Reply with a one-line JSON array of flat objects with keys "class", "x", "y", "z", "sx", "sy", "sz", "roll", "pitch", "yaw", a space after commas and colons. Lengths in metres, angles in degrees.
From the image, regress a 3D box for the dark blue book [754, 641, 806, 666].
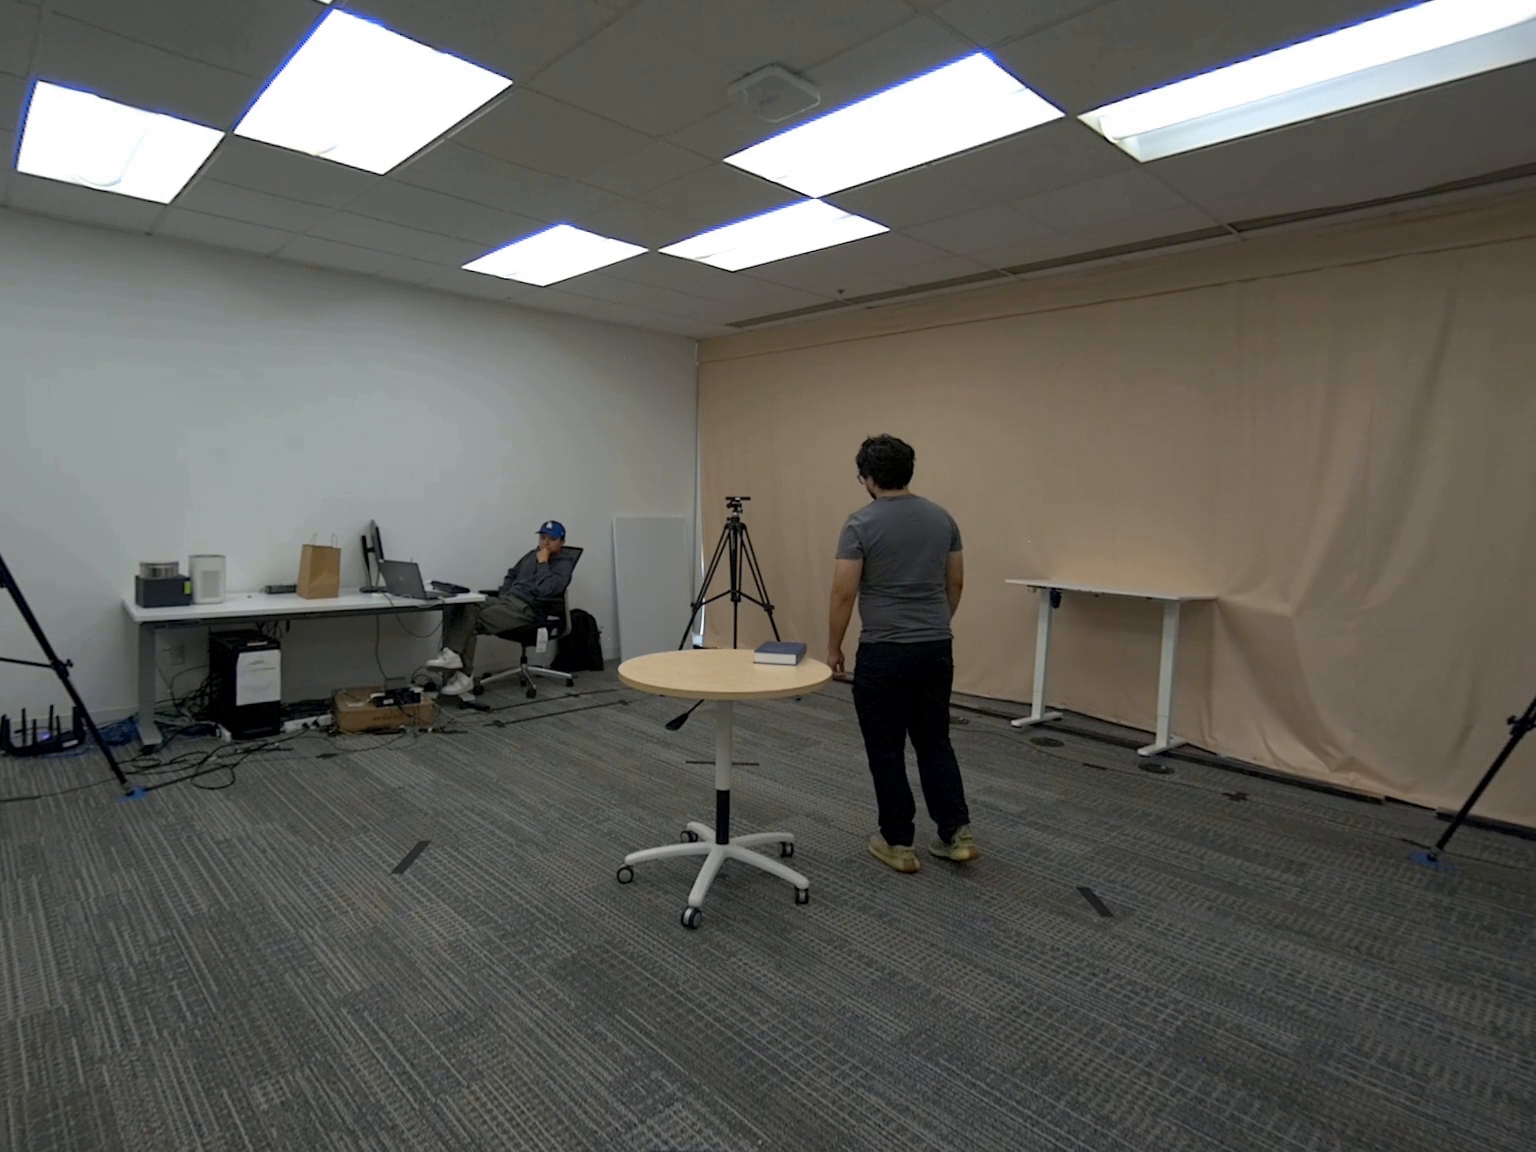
[{"class": "dark blue book", "x": 0.045, "y": 0.295, "z": 3.212, "sx": 0.165, "sy": 0.045, "sz": 0.243, "roll": 2, "pitch": 5, "yaw": 12}]
